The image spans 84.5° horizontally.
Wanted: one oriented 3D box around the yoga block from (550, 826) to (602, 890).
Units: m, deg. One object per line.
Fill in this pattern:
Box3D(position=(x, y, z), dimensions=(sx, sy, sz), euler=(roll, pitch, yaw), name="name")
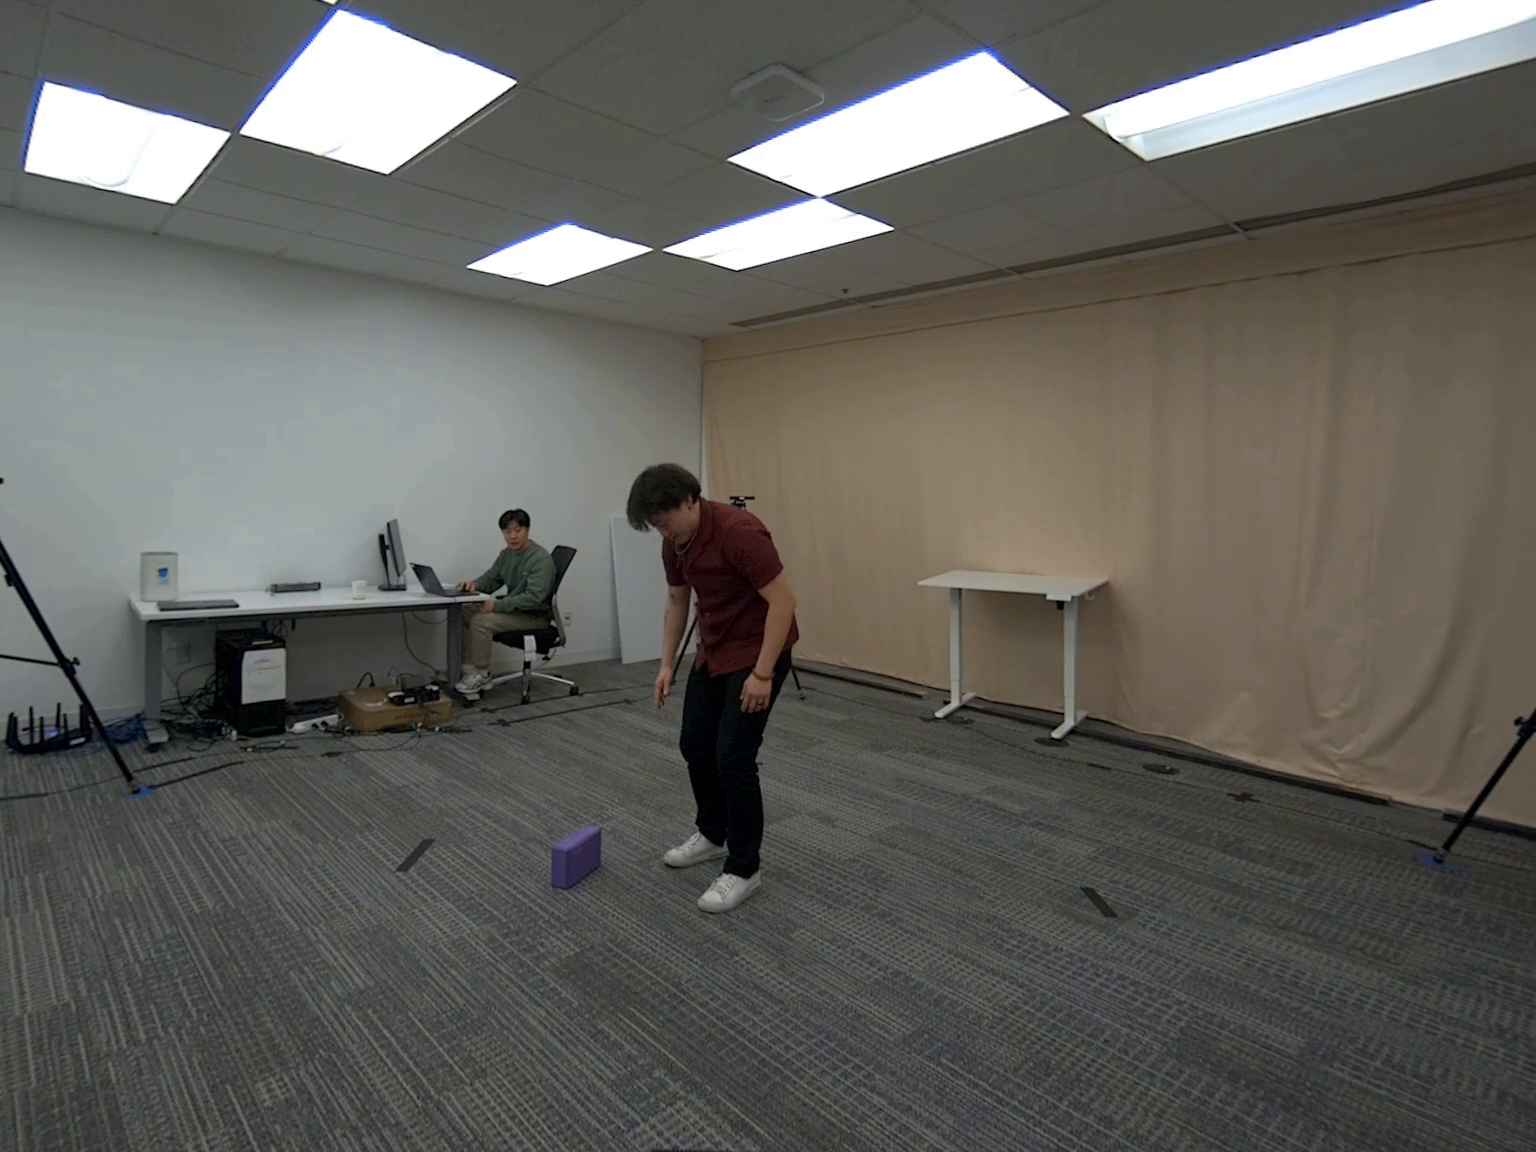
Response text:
Box3D(position=(-0.697, 1.017, 3.063), dimensions=(0.078, 0.149, 0.226), euler=(2, 4, 19), name="yoga block")
